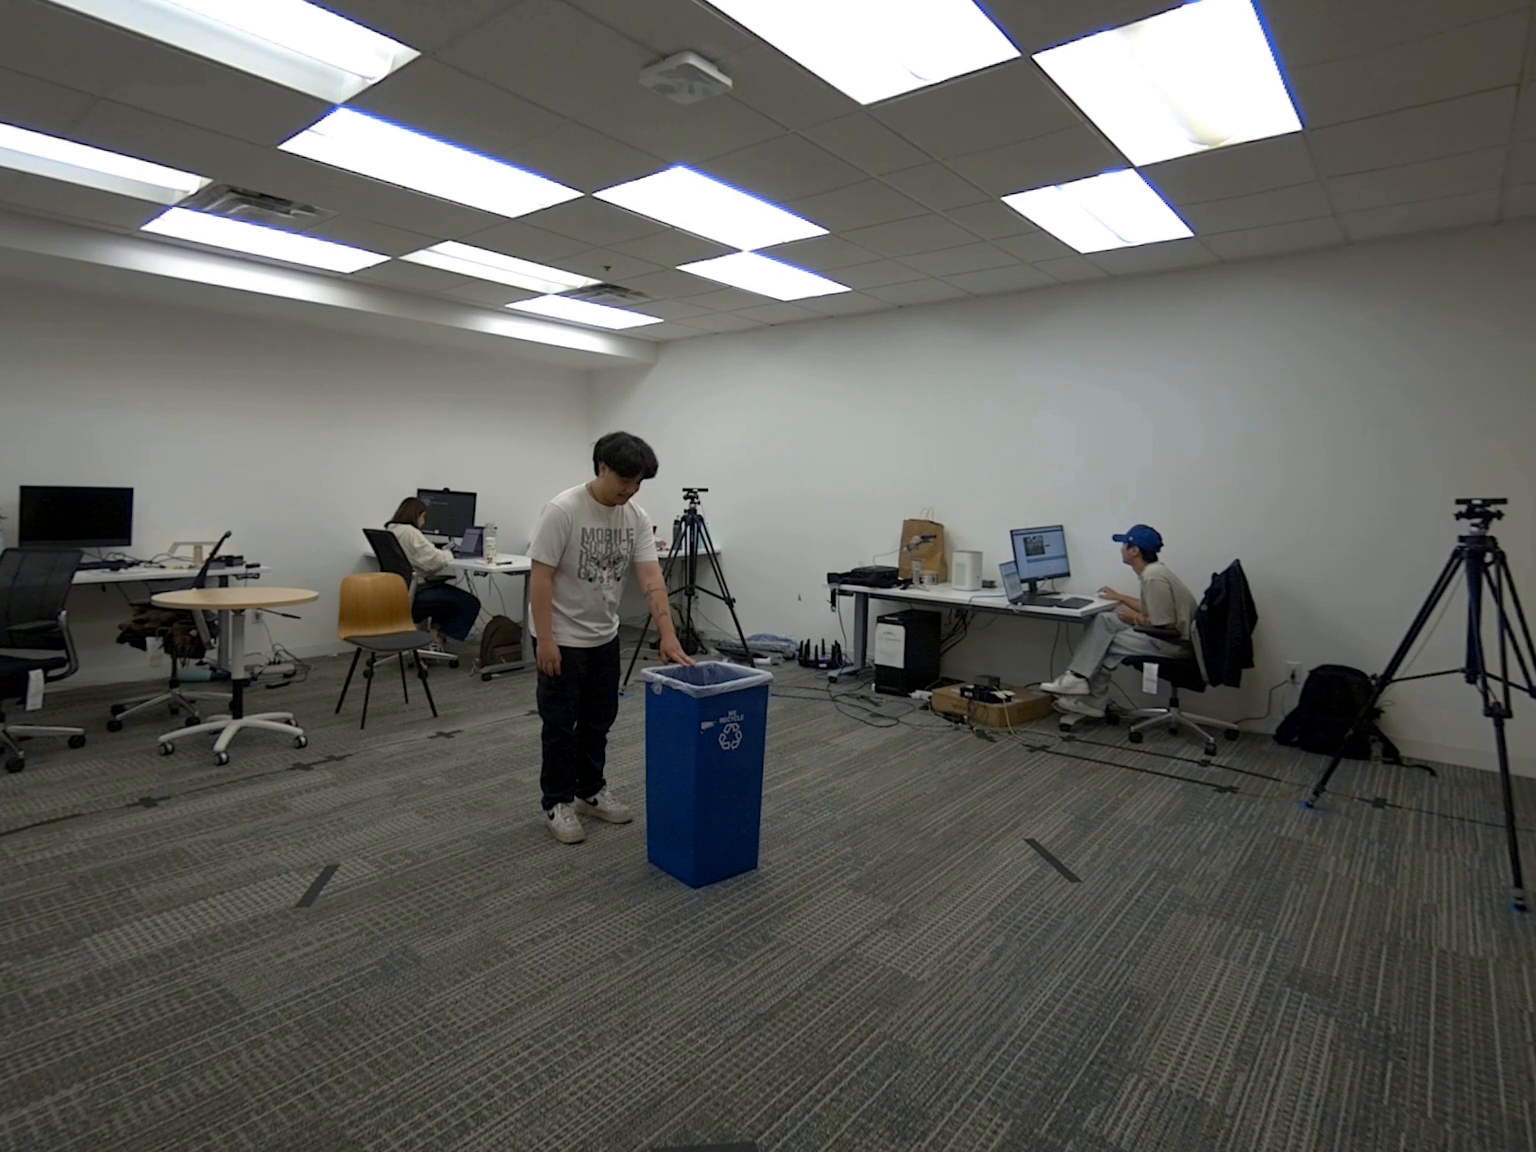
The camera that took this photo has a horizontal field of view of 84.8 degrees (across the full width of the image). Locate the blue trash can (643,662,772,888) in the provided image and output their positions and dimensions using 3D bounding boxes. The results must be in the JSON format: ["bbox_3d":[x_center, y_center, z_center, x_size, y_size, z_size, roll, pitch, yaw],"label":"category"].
[{"bbox_3d":[-0.239,0.706,3.145,0.363,0.711,0.391,-2,4,-41],"label":"blue trash can"}]
